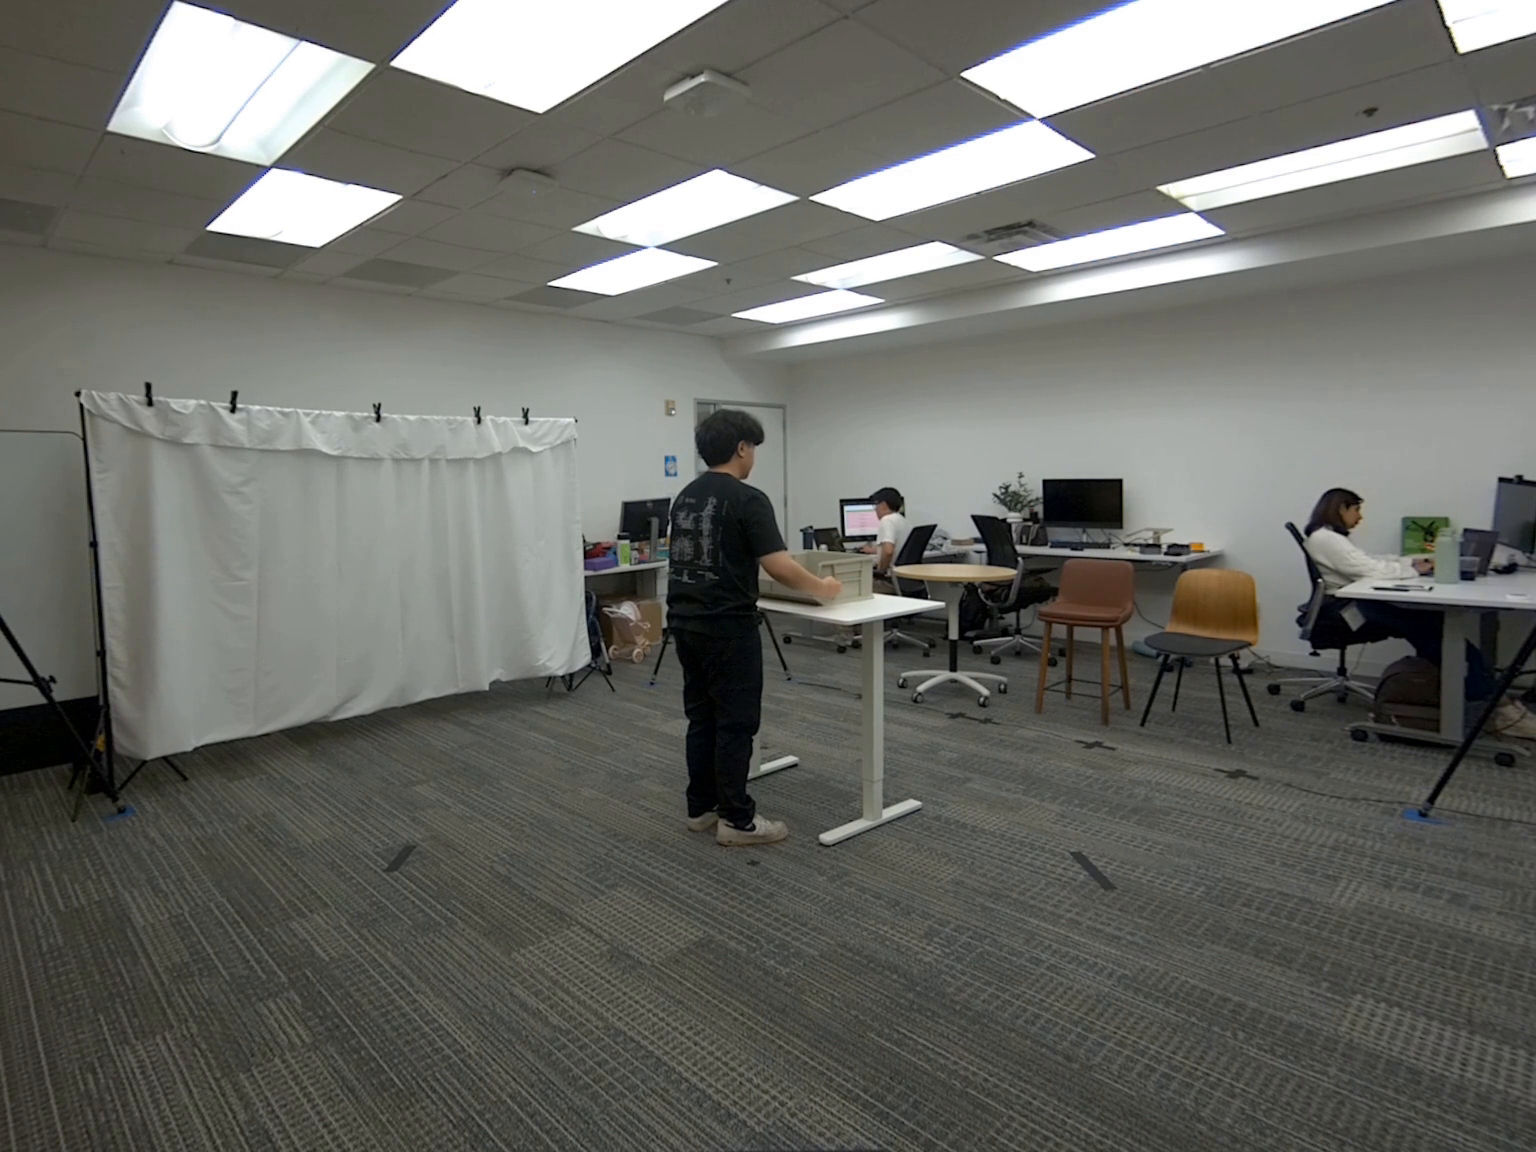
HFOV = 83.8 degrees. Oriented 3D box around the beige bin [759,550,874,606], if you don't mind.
[{"bbox_3d":[0.195,0.009,3.656,0.367,0.188,0.435,-6,8,-41],"label":"beige bin"}]
